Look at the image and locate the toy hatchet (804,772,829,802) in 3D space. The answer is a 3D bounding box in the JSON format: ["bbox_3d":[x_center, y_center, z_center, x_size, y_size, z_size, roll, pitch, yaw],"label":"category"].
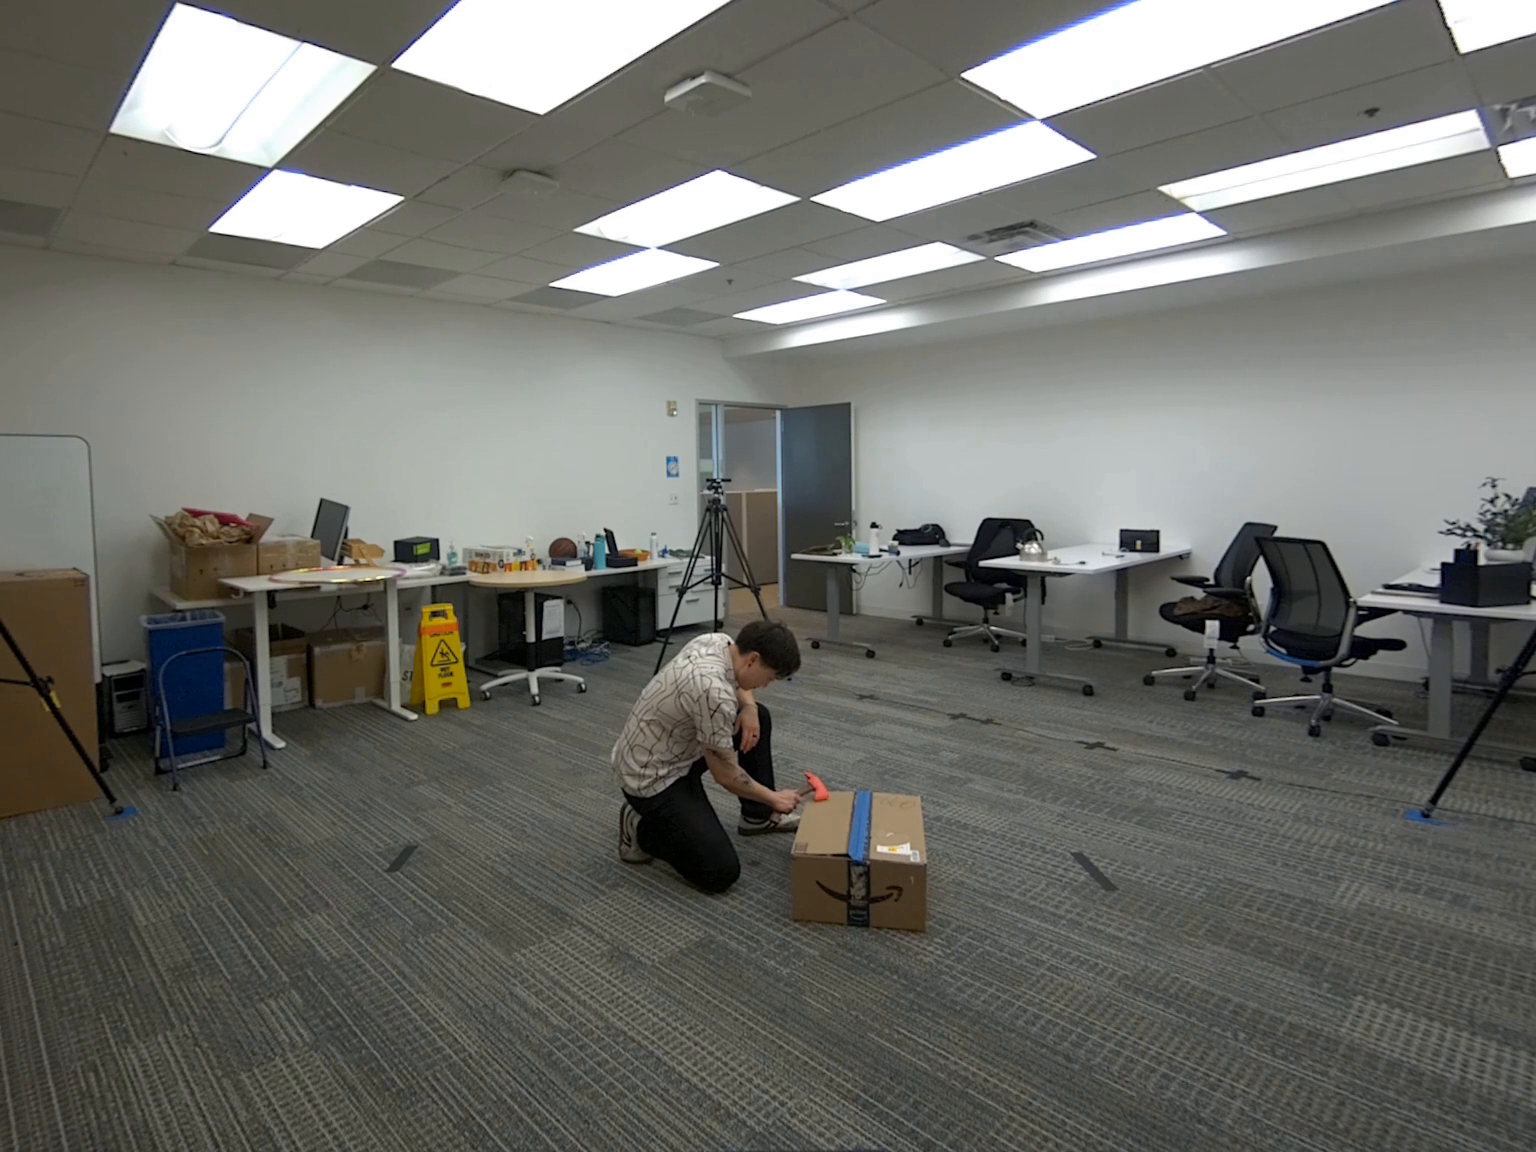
[{"bbox_3d":[0.123,0.825,3.102,0.135,0.029,0.268,29,44,23],"label":"toy hatchet"}]
